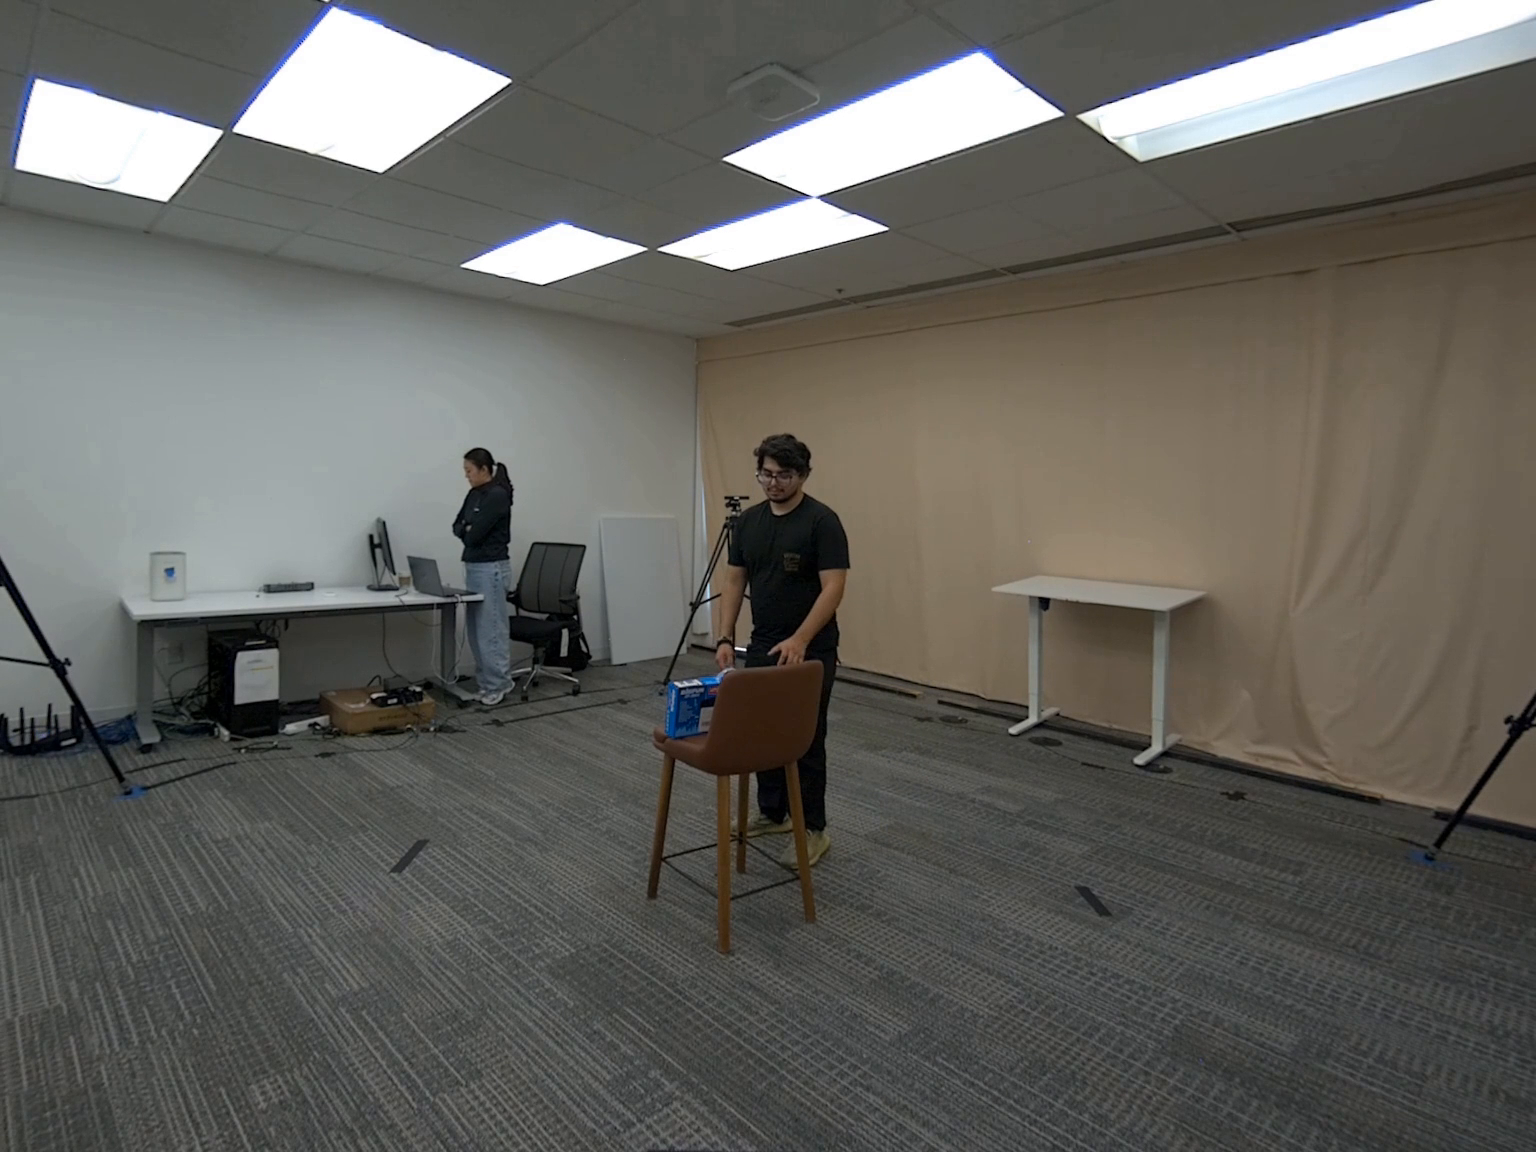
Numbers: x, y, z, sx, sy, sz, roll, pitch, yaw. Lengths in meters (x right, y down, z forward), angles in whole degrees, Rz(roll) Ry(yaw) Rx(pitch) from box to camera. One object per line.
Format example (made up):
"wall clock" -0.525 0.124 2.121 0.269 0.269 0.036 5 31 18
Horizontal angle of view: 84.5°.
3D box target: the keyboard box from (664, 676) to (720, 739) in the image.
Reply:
"keyboard box" -0.141 0.429 2.829 0.427 0.175 0.061 -2 12 -35
